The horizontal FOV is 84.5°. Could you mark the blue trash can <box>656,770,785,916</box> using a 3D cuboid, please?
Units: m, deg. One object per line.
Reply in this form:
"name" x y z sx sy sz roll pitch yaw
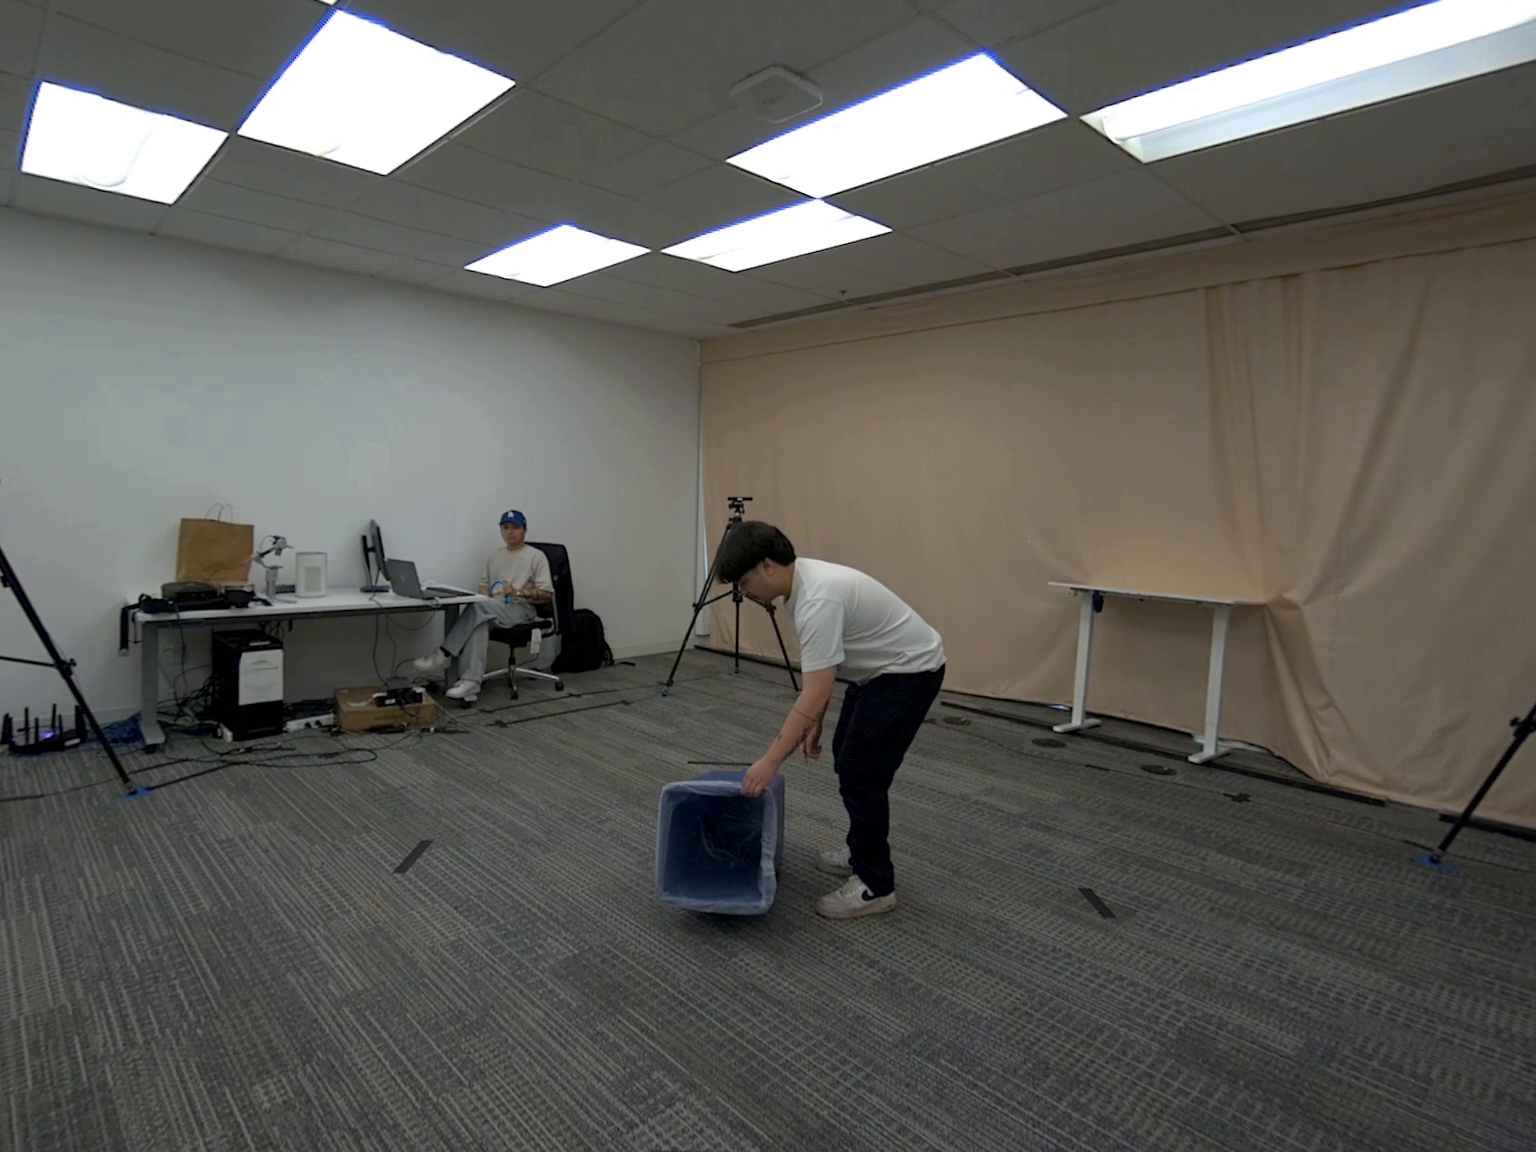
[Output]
"blue trash can" -0.136 0.897 3.004 0.376 0.380 0.705 0 -7 7
